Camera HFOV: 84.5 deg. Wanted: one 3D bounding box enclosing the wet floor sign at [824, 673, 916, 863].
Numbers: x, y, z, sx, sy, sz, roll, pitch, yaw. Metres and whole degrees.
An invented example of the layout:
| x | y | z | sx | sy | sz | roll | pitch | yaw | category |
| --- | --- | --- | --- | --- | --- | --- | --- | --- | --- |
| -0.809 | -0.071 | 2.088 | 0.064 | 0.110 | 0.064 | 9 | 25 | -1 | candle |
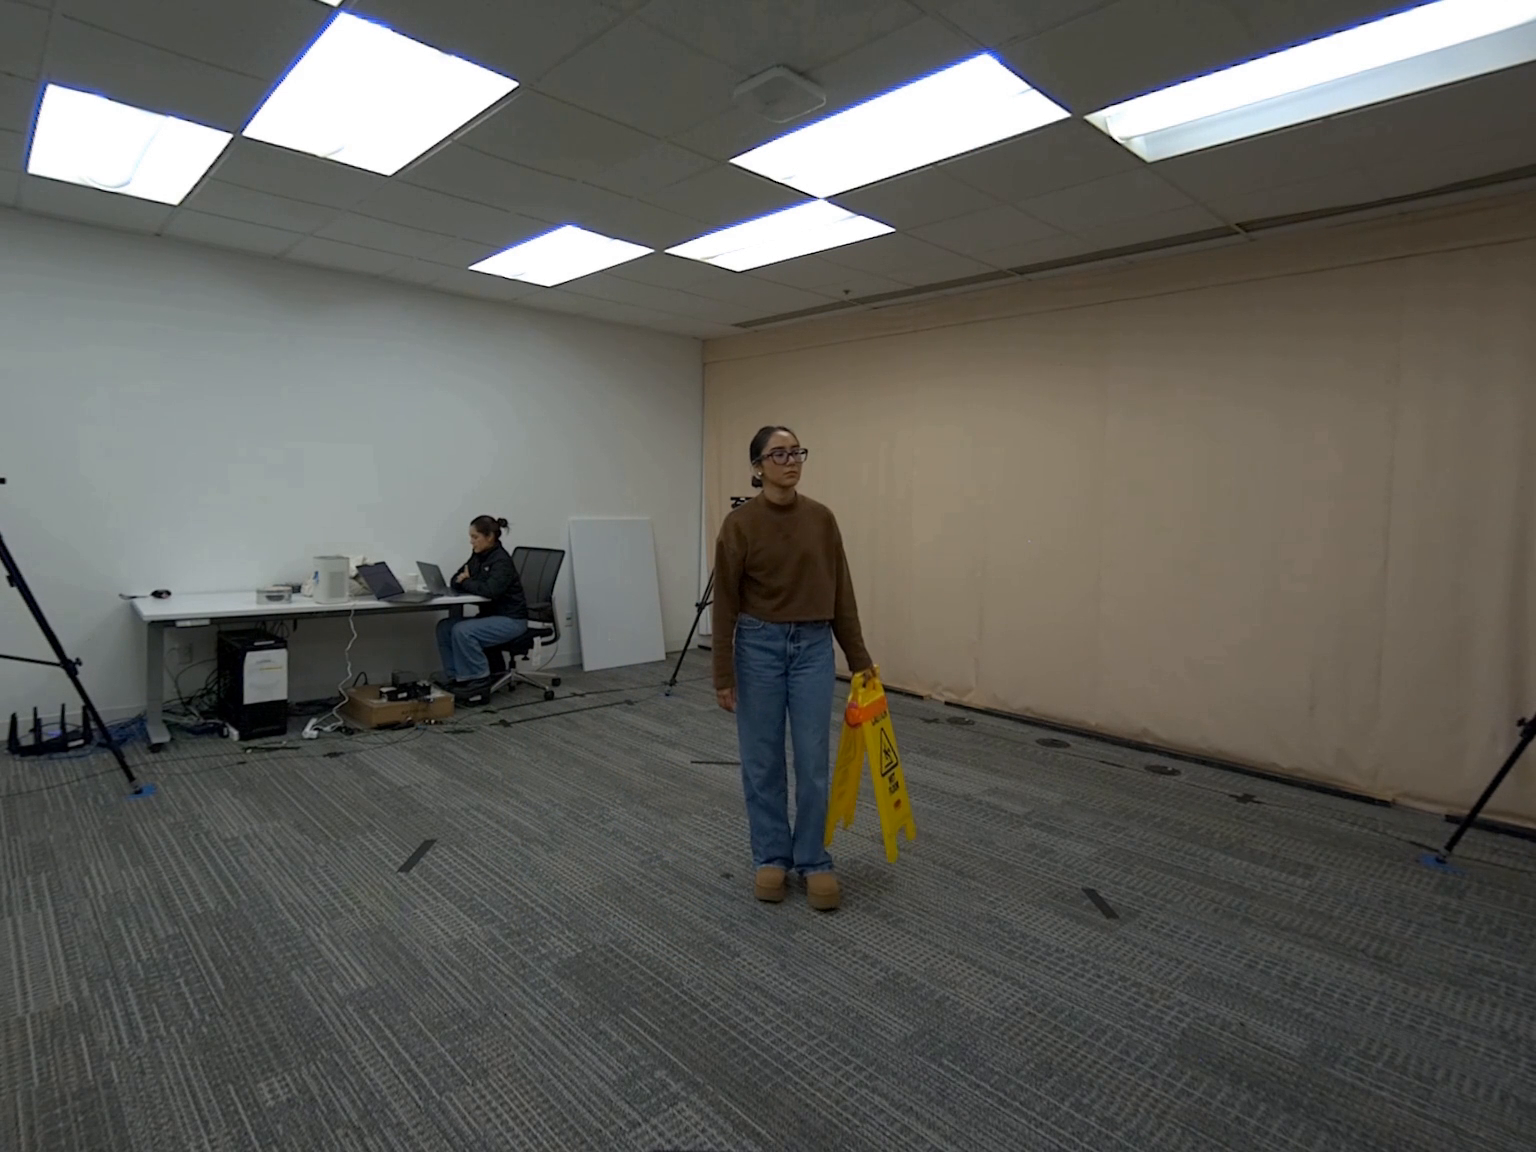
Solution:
| x | y | z | sx | sy | sz | roll | pitch | yaw | category |
| --- | --- | --- | --- | --- | --- | --- | --- | --- | --- |
| 0.356 | 0.664 | 3.087 | 0.296 | 0.645 | 0.277 | -1 | 3 | 30 | wet floor sign |
